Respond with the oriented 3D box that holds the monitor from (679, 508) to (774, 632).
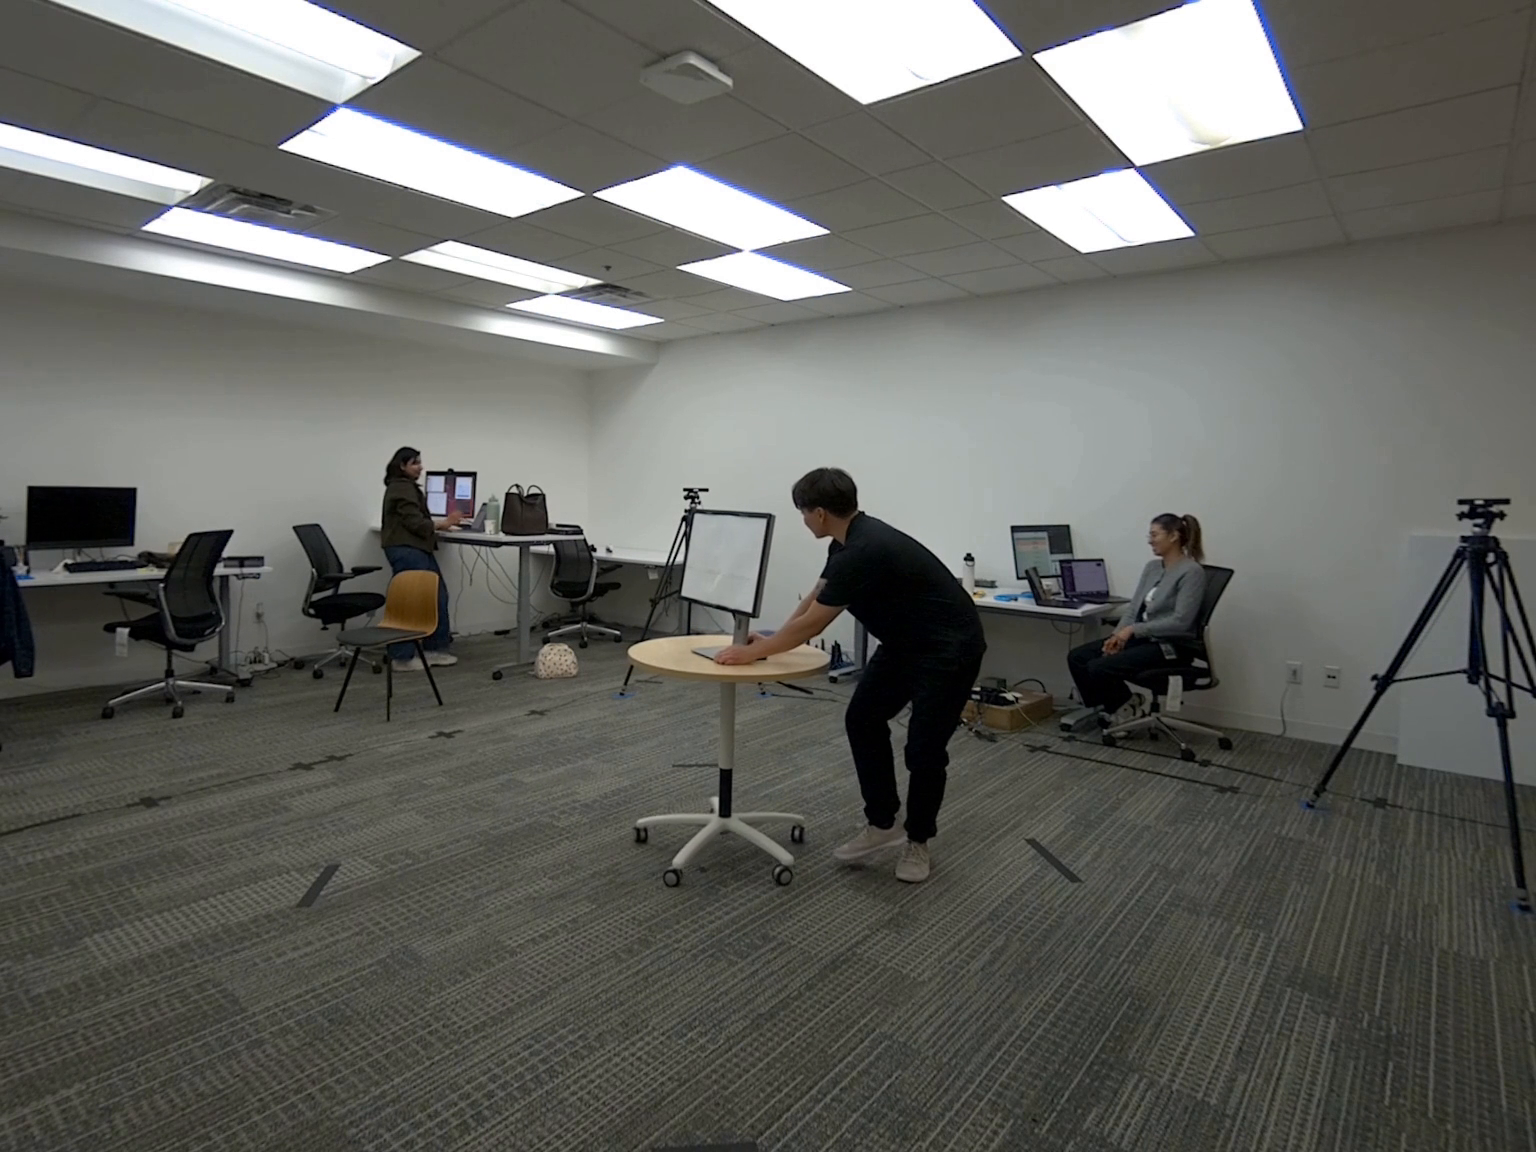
[{"bbox_3d":[-0.150,0.025,3.173,0.182,0.521,0.556,-3,5,-35],"label":"monitor"}]
